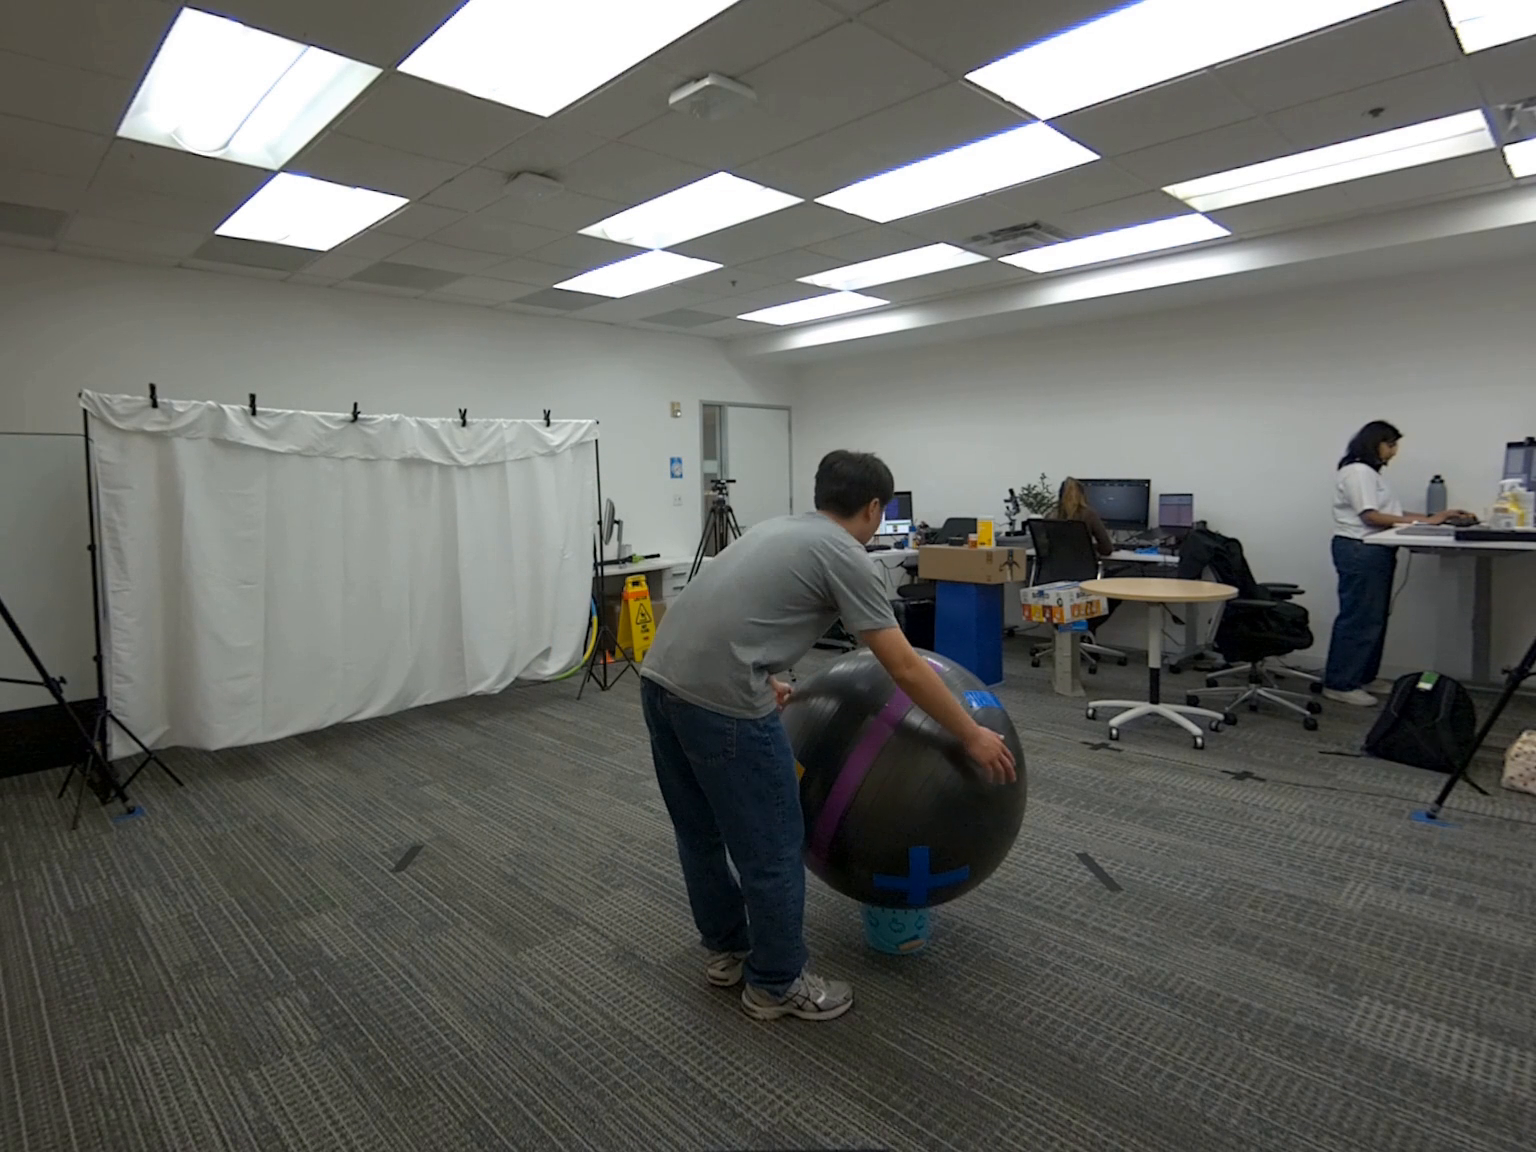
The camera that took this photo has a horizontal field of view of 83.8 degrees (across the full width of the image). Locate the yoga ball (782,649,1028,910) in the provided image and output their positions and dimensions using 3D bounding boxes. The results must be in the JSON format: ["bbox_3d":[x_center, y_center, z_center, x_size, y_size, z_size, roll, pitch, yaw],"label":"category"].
[{"bbox_3d":[0.388,0.598,2.561,0.757,0.755,0.762,-1,5,-2],"label":"yoga ball"}]
